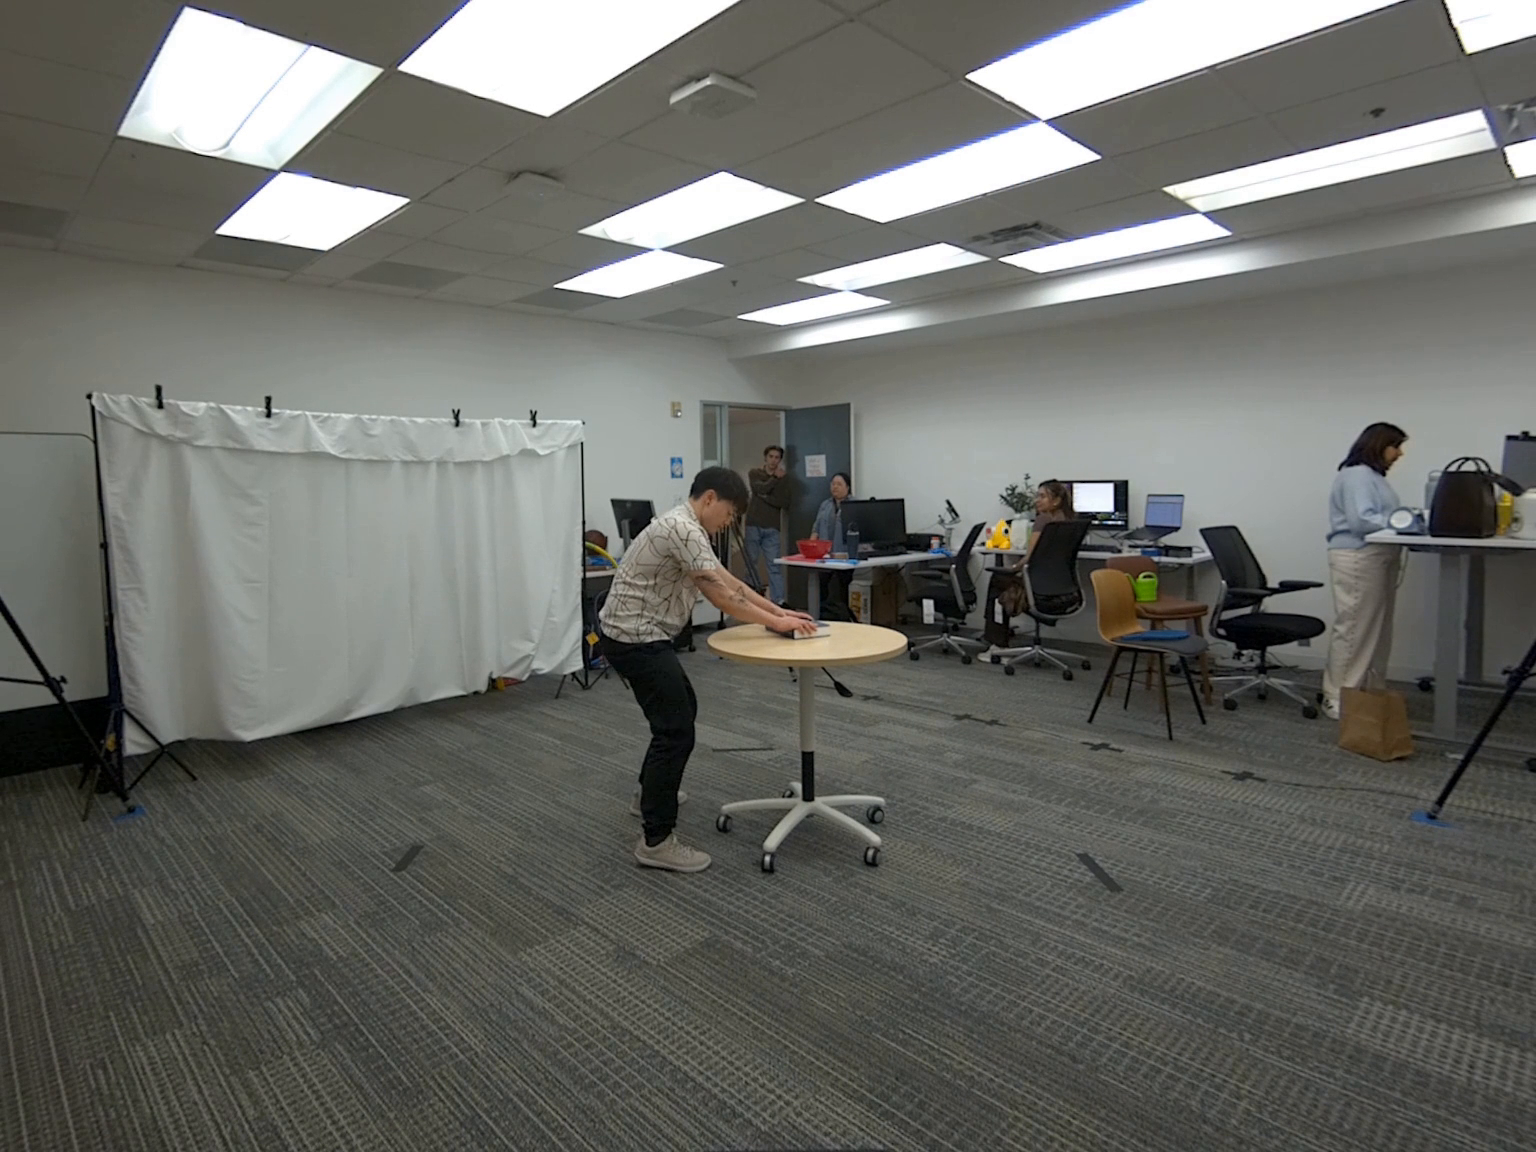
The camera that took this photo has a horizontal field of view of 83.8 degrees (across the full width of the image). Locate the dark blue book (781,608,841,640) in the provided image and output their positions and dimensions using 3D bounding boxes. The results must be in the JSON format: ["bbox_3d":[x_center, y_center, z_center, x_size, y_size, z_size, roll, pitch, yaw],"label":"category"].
[{"bbox_3d":[0.121,0.209,3.412,0.160,0.045,0.252,-4,8,-26],"label":"dark blue book"}]
